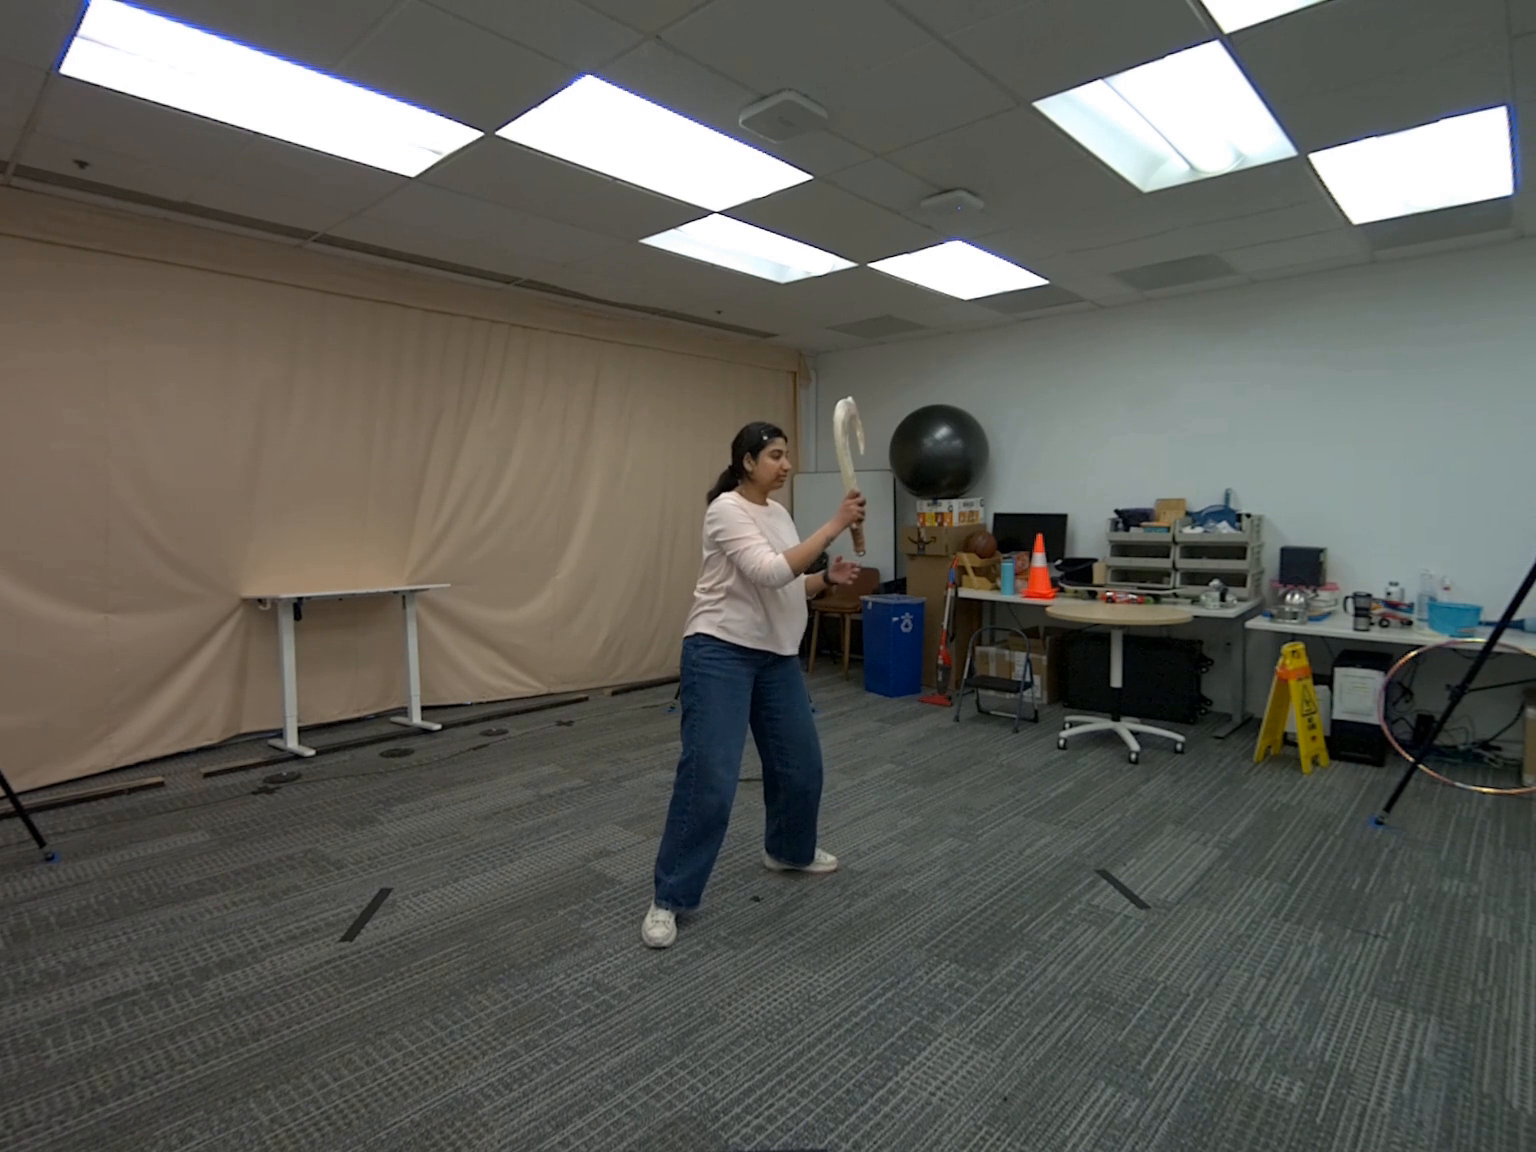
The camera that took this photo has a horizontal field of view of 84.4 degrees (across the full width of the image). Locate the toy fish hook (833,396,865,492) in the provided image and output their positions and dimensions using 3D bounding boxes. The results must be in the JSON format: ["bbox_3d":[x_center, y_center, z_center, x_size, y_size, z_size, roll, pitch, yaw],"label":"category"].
[{"bbox_3d":[0.292,-0.323,2.732,0.050,0.502,0.220,0,15,31],"label":"toy fish hook"}]
